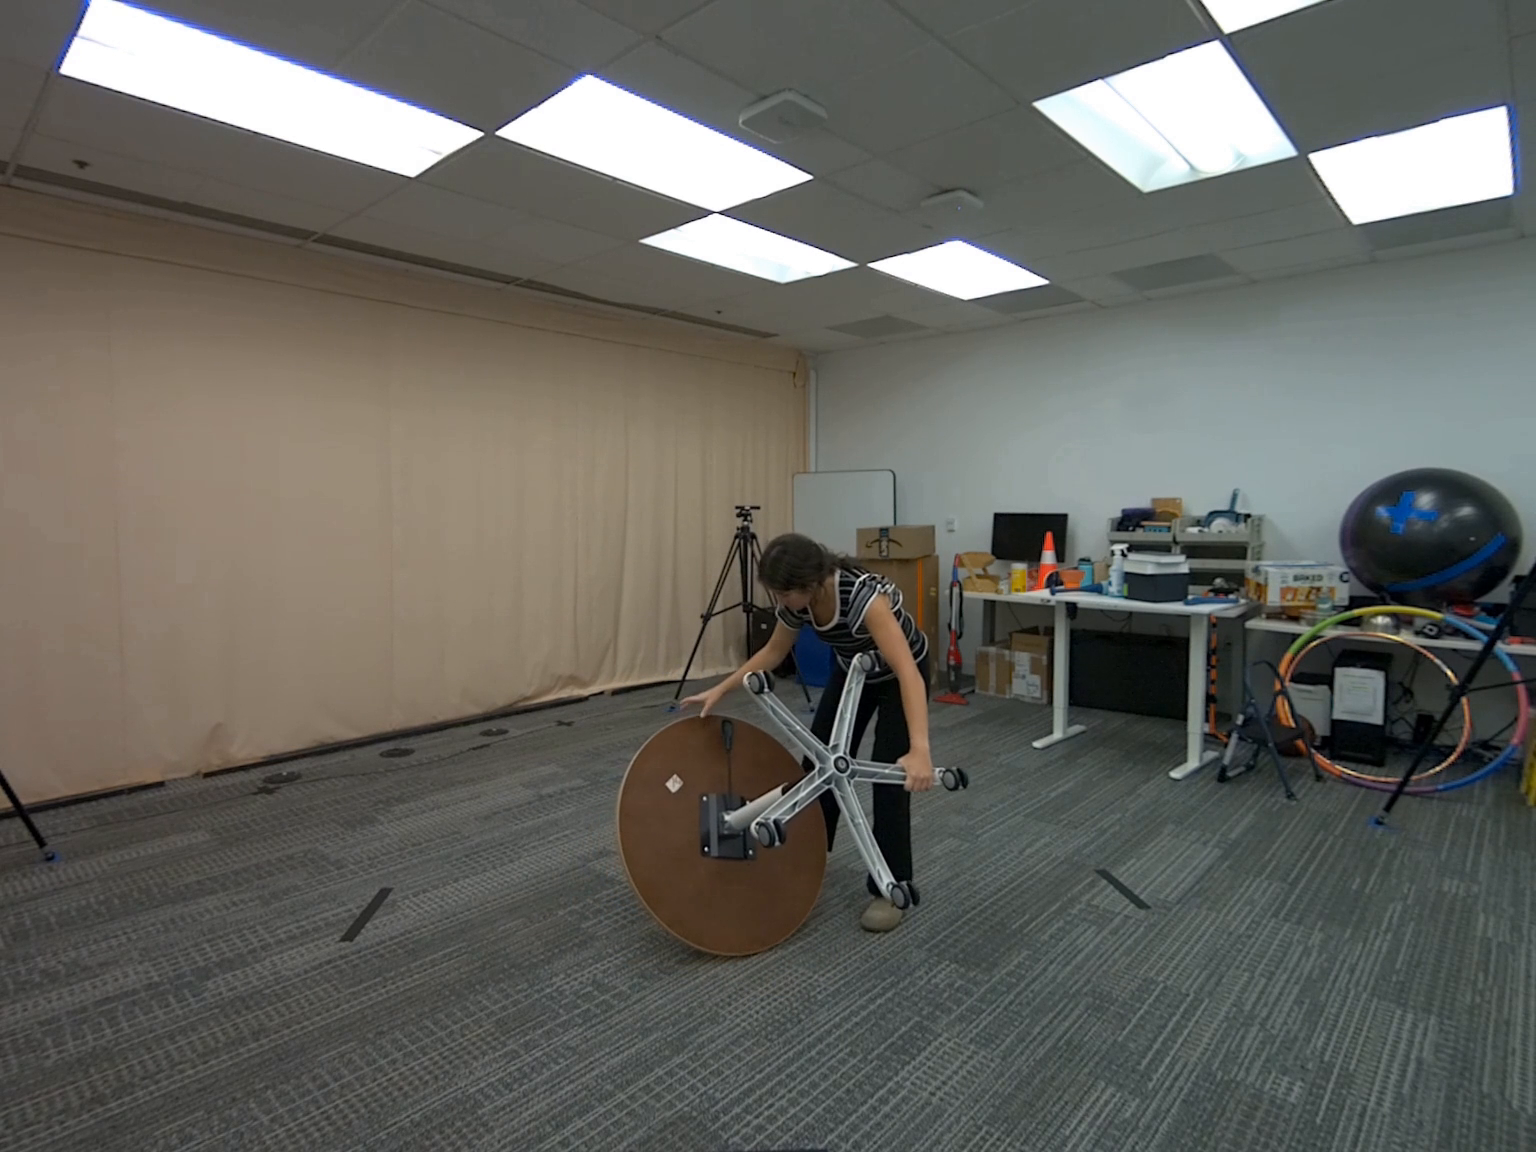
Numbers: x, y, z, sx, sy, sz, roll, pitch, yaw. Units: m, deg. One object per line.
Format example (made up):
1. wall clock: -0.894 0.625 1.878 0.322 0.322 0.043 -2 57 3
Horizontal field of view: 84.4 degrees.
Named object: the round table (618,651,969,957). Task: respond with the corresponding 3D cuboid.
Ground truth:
1. round table: 0.051 0.656 2.491 0.743 0.779 0.800 -2 -27 -32
